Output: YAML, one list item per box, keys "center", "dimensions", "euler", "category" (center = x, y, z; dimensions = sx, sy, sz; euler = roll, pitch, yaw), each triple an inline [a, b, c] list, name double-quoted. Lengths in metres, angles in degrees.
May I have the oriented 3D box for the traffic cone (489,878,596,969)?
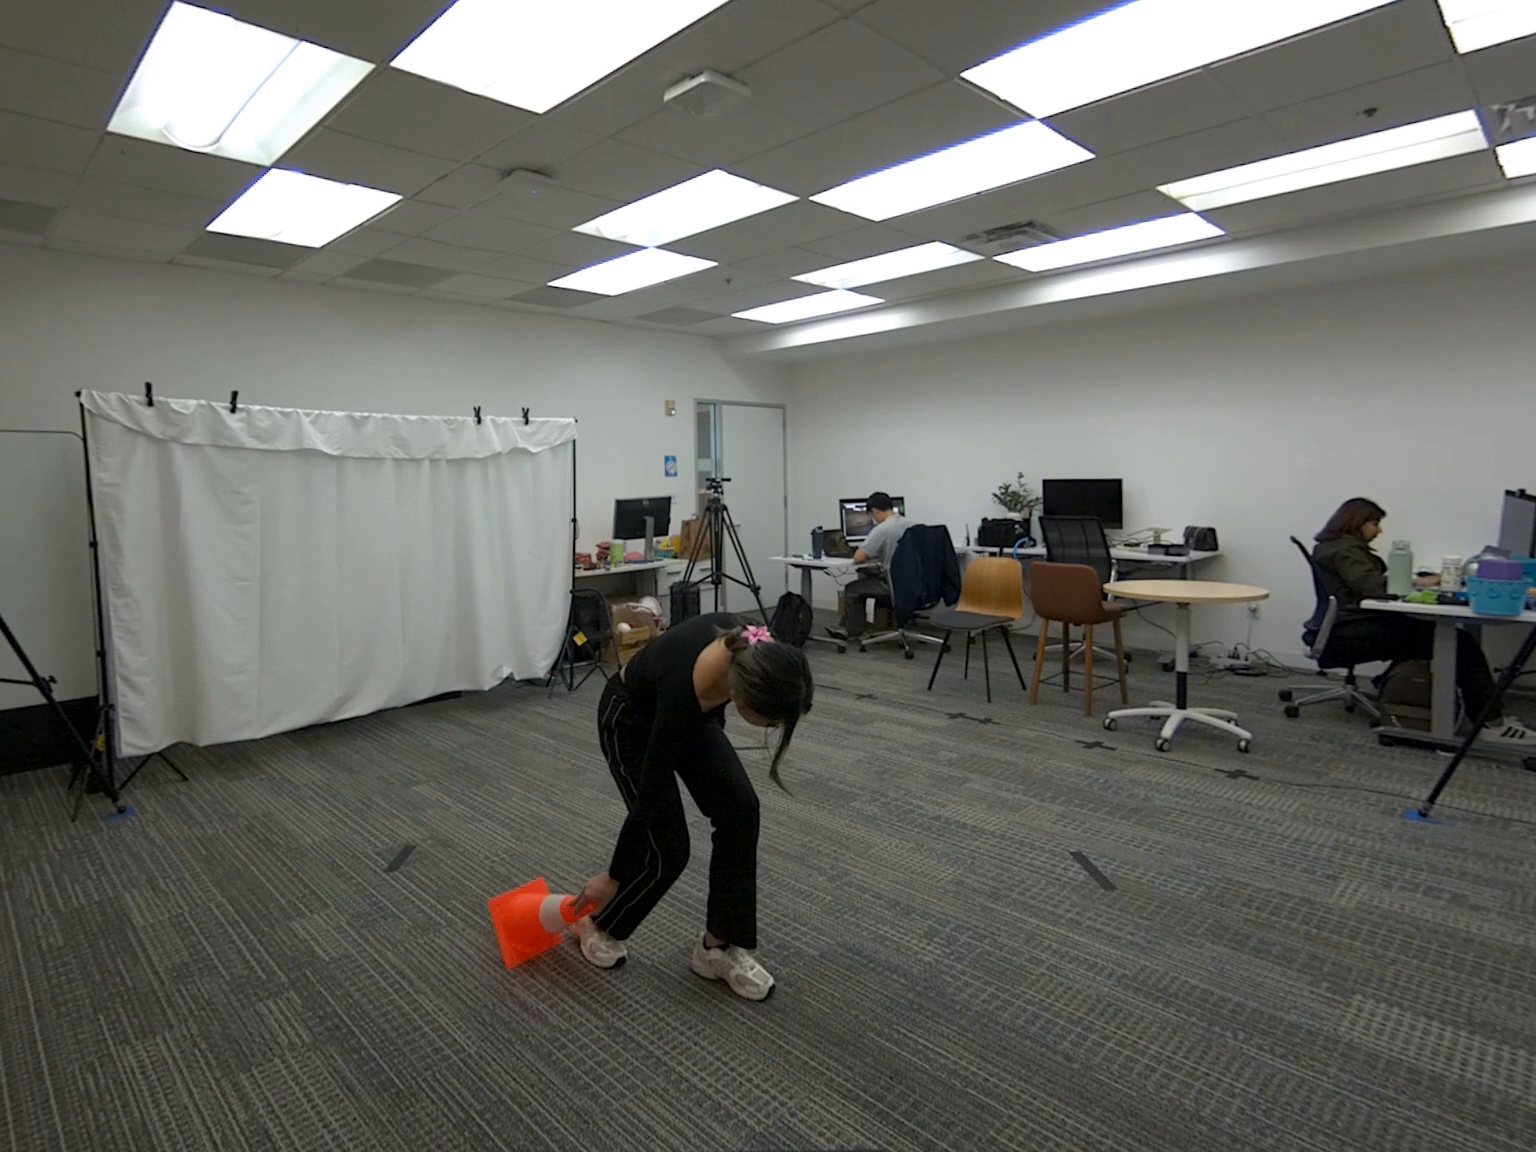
- center: [-0.590, 0.959, 2.426]
  dimensions: [0.199, 0.207, 0.387]
  euler: [-4, -22, -46]
  category: "traffic cone"
